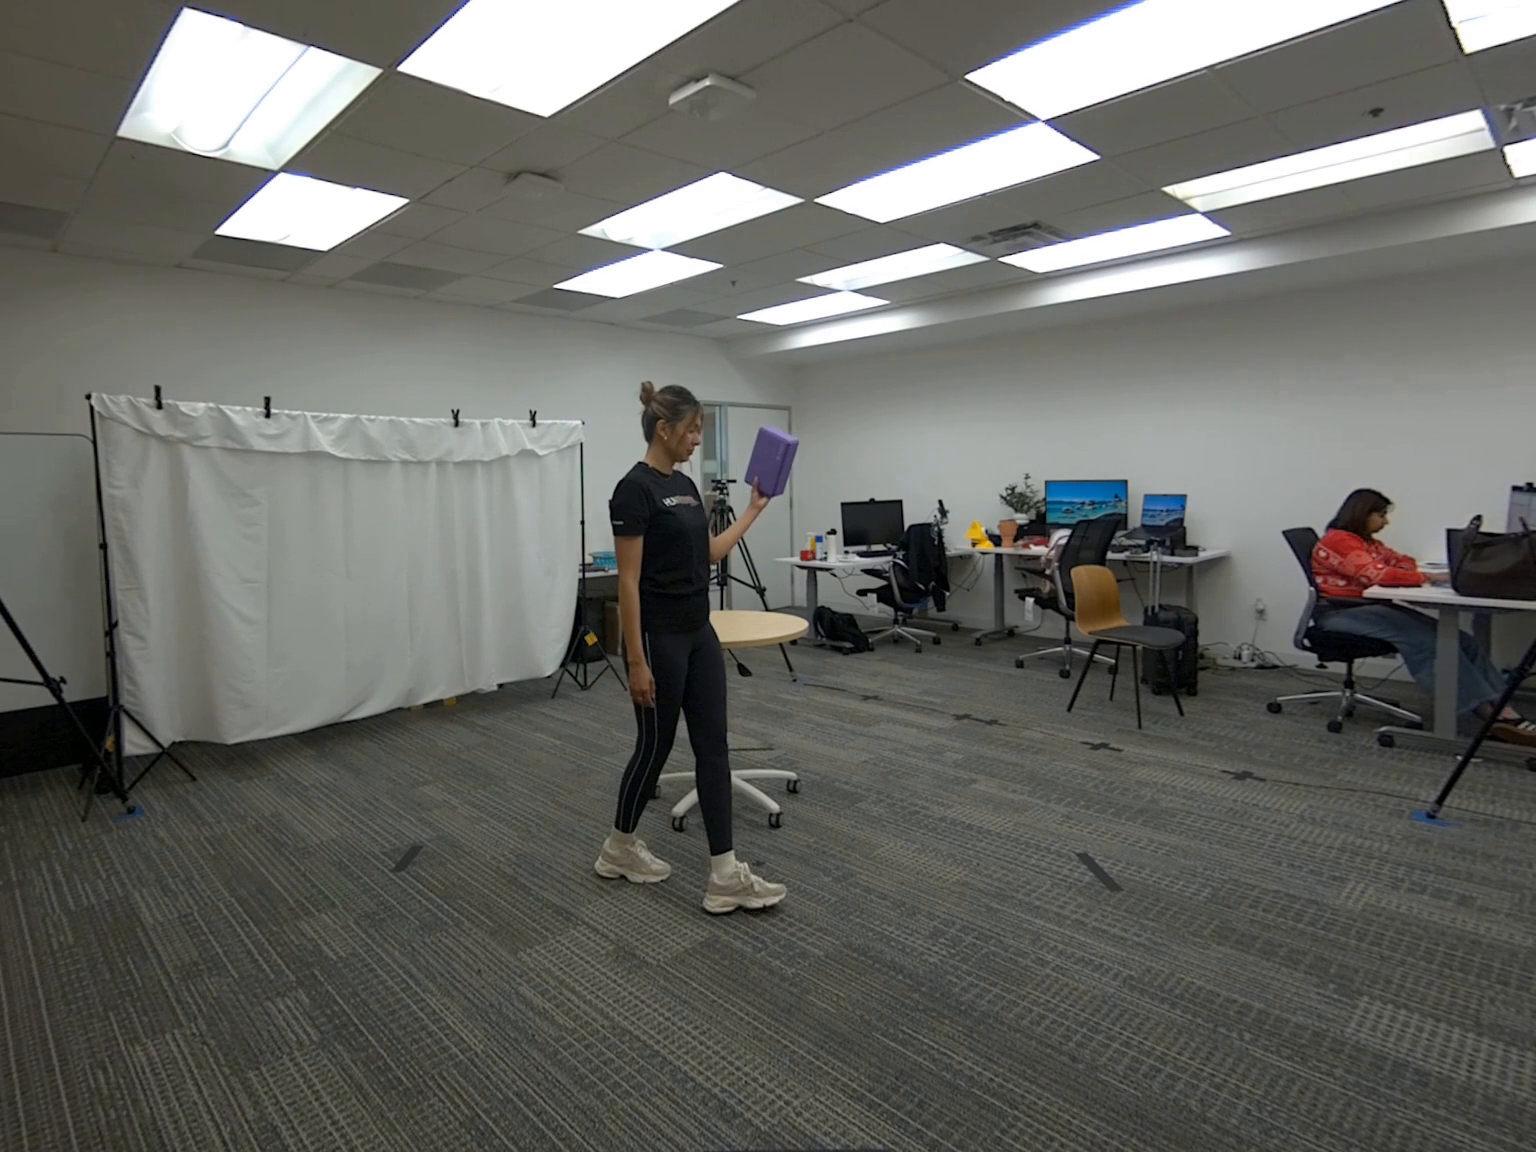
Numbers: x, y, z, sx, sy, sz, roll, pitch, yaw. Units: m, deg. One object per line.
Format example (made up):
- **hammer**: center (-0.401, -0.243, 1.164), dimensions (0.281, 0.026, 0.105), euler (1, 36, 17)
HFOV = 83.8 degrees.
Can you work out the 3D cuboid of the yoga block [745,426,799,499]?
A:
- **yoga block**: center (0.008, -0.428, 3.182), dimensions (0.154, 0.226, 0.075), euler (31, 28, 30)
